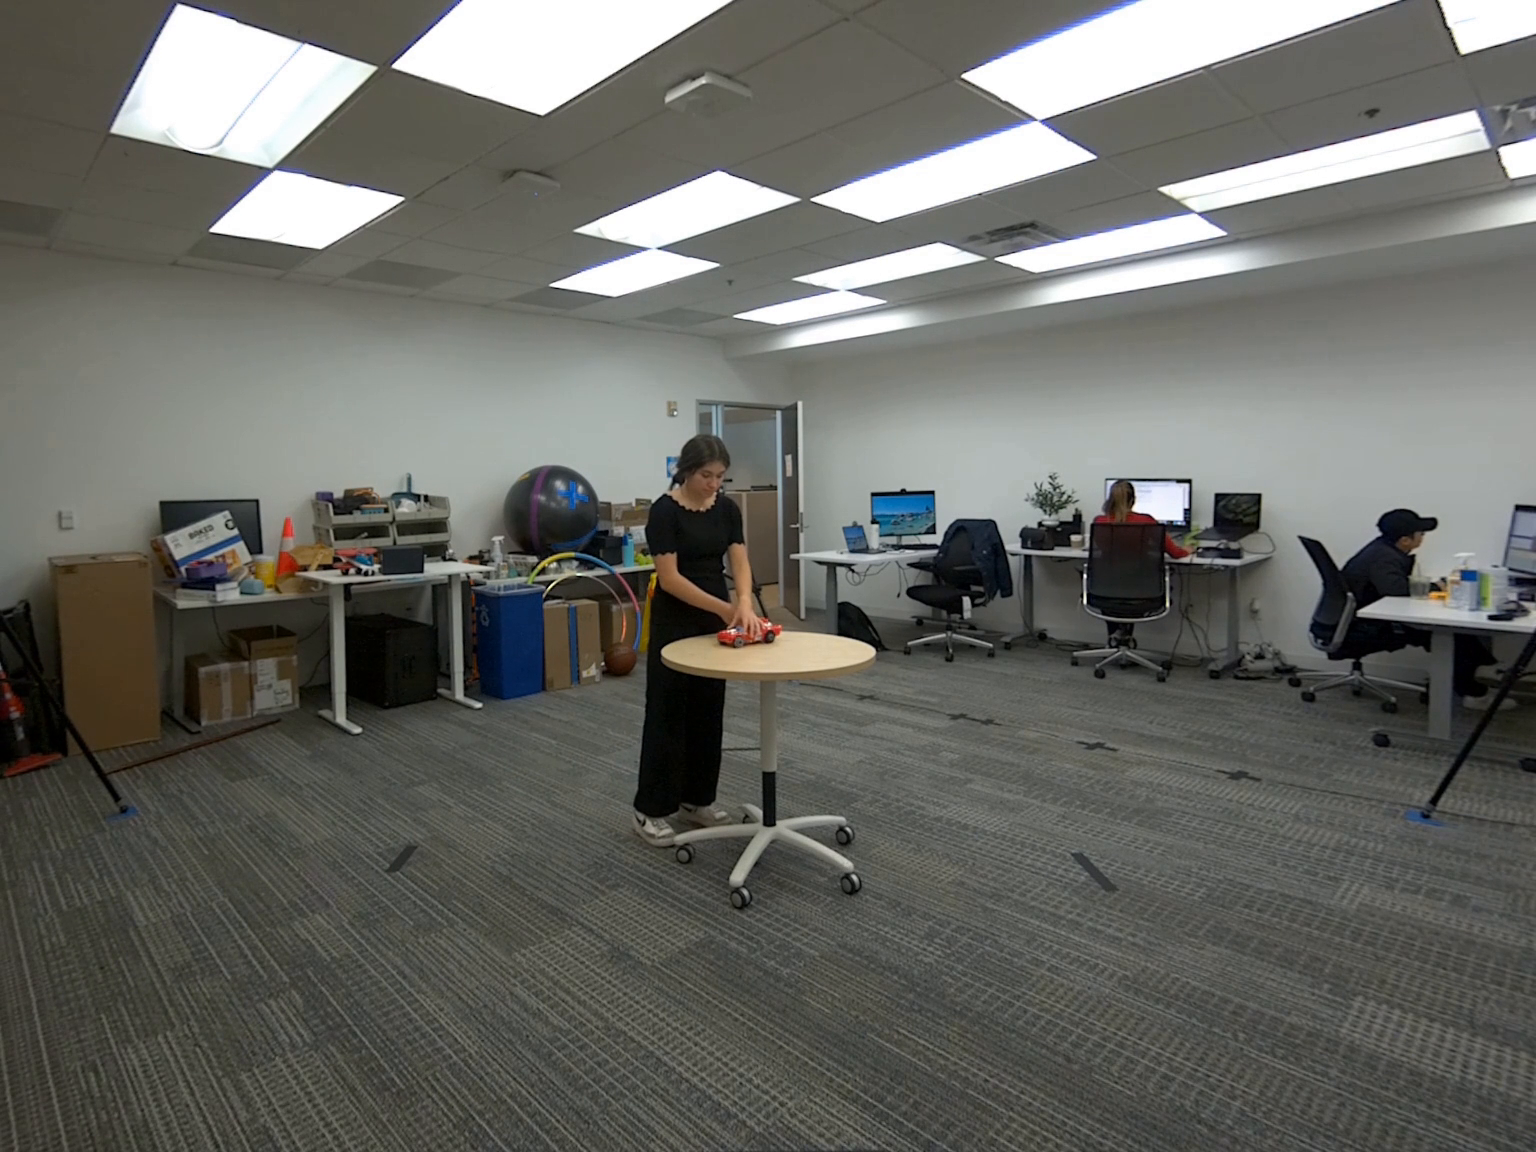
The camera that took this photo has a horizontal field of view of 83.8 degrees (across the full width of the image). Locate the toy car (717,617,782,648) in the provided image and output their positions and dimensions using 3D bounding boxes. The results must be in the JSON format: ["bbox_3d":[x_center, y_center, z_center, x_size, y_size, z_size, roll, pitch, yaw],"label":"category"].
[{"bbox_3d":[-0.058,0.219,3.198,0.250,0.082,0.134,-18,14,-35],"label":"toy car"}]
